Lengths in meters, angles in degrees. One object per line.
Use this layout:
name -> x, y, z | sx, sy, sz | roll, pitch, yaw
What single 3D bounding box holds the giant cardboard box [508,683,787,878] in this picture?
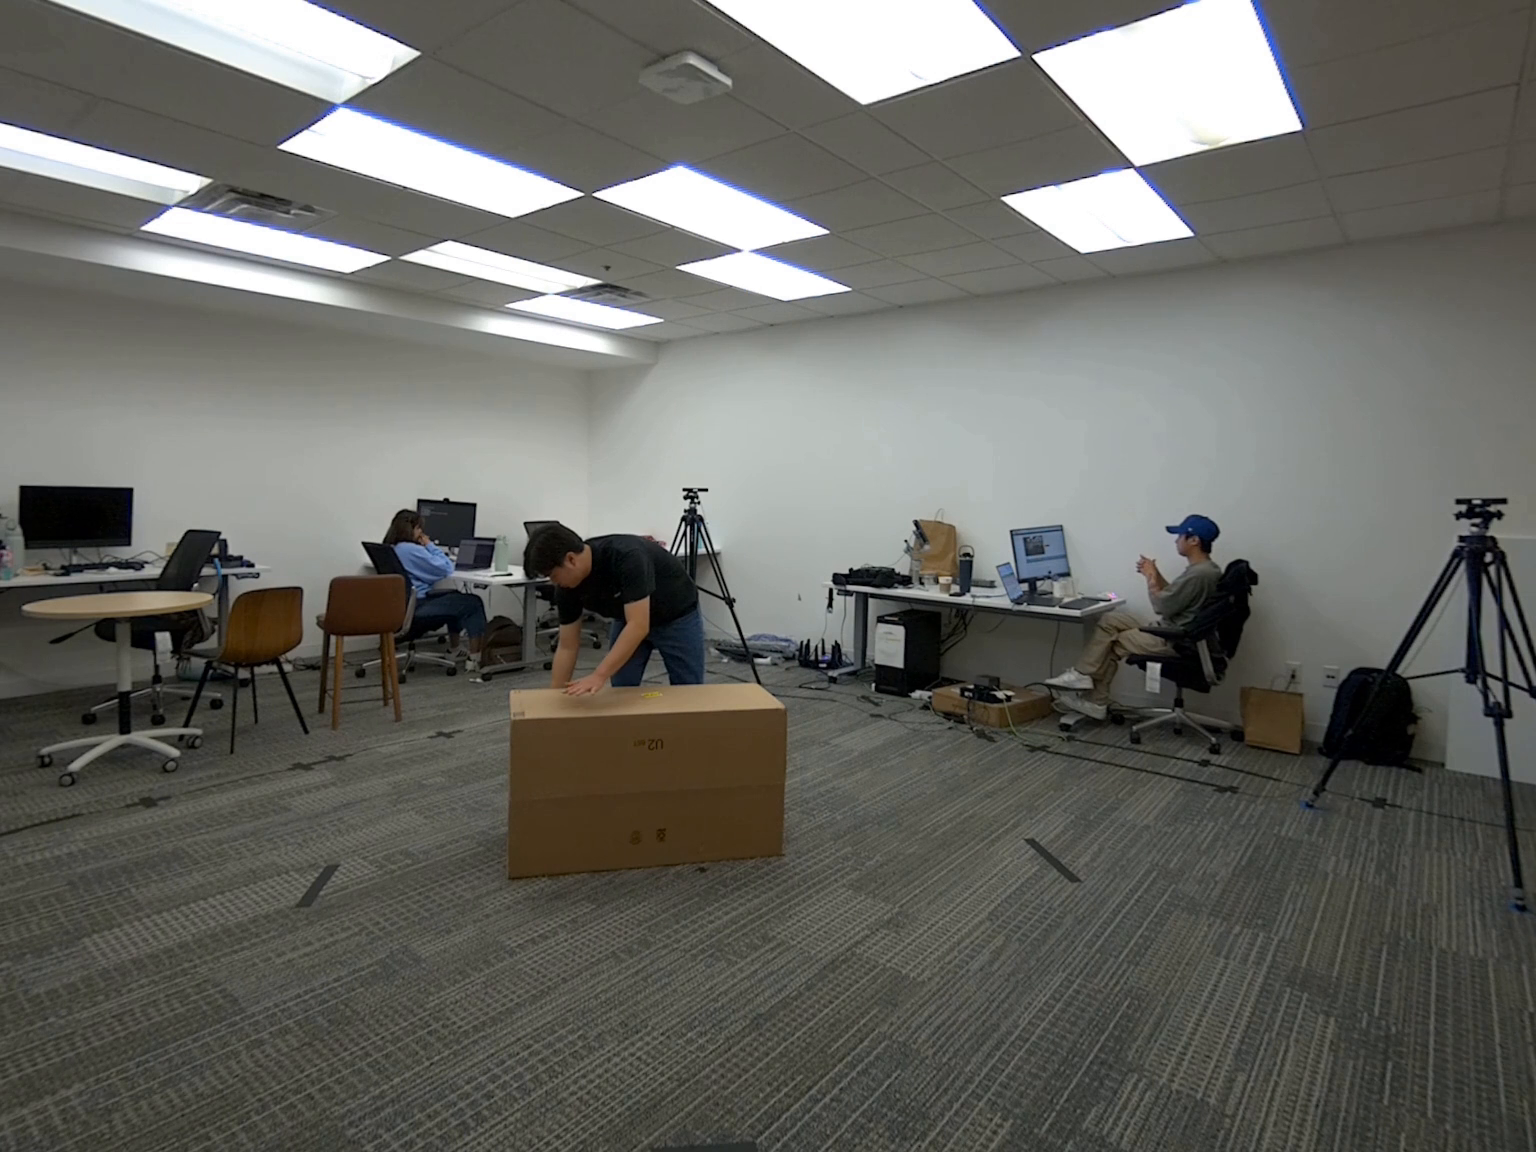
giant cardboard box -> -0.491, 0.755, 3.307 | 1.011, 0.583, 0.455 | 0, 3, -15
